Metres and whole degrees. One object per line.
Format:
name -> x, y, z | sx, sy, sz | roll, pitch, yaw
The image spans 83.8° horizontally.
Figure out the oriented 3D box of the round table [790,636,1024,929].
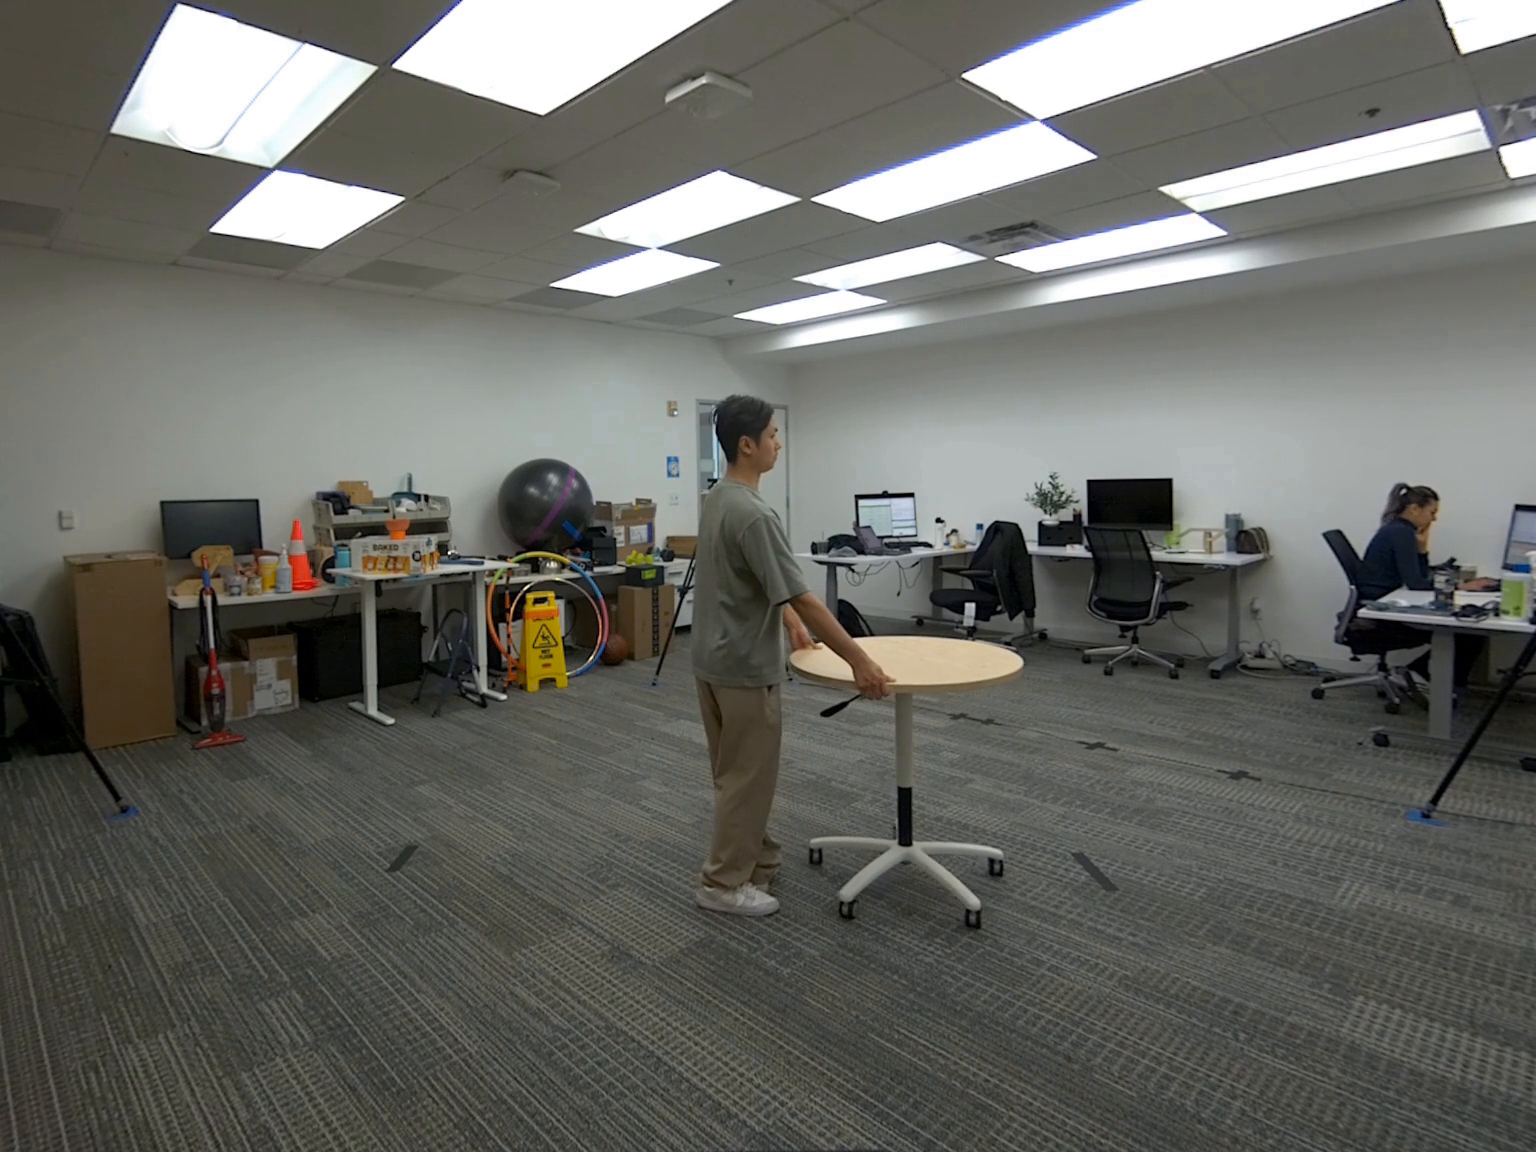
round table -> 0.478, 0.660, 2.909 | 0.784, 0.783, 0.789 | -2, 5, -2
